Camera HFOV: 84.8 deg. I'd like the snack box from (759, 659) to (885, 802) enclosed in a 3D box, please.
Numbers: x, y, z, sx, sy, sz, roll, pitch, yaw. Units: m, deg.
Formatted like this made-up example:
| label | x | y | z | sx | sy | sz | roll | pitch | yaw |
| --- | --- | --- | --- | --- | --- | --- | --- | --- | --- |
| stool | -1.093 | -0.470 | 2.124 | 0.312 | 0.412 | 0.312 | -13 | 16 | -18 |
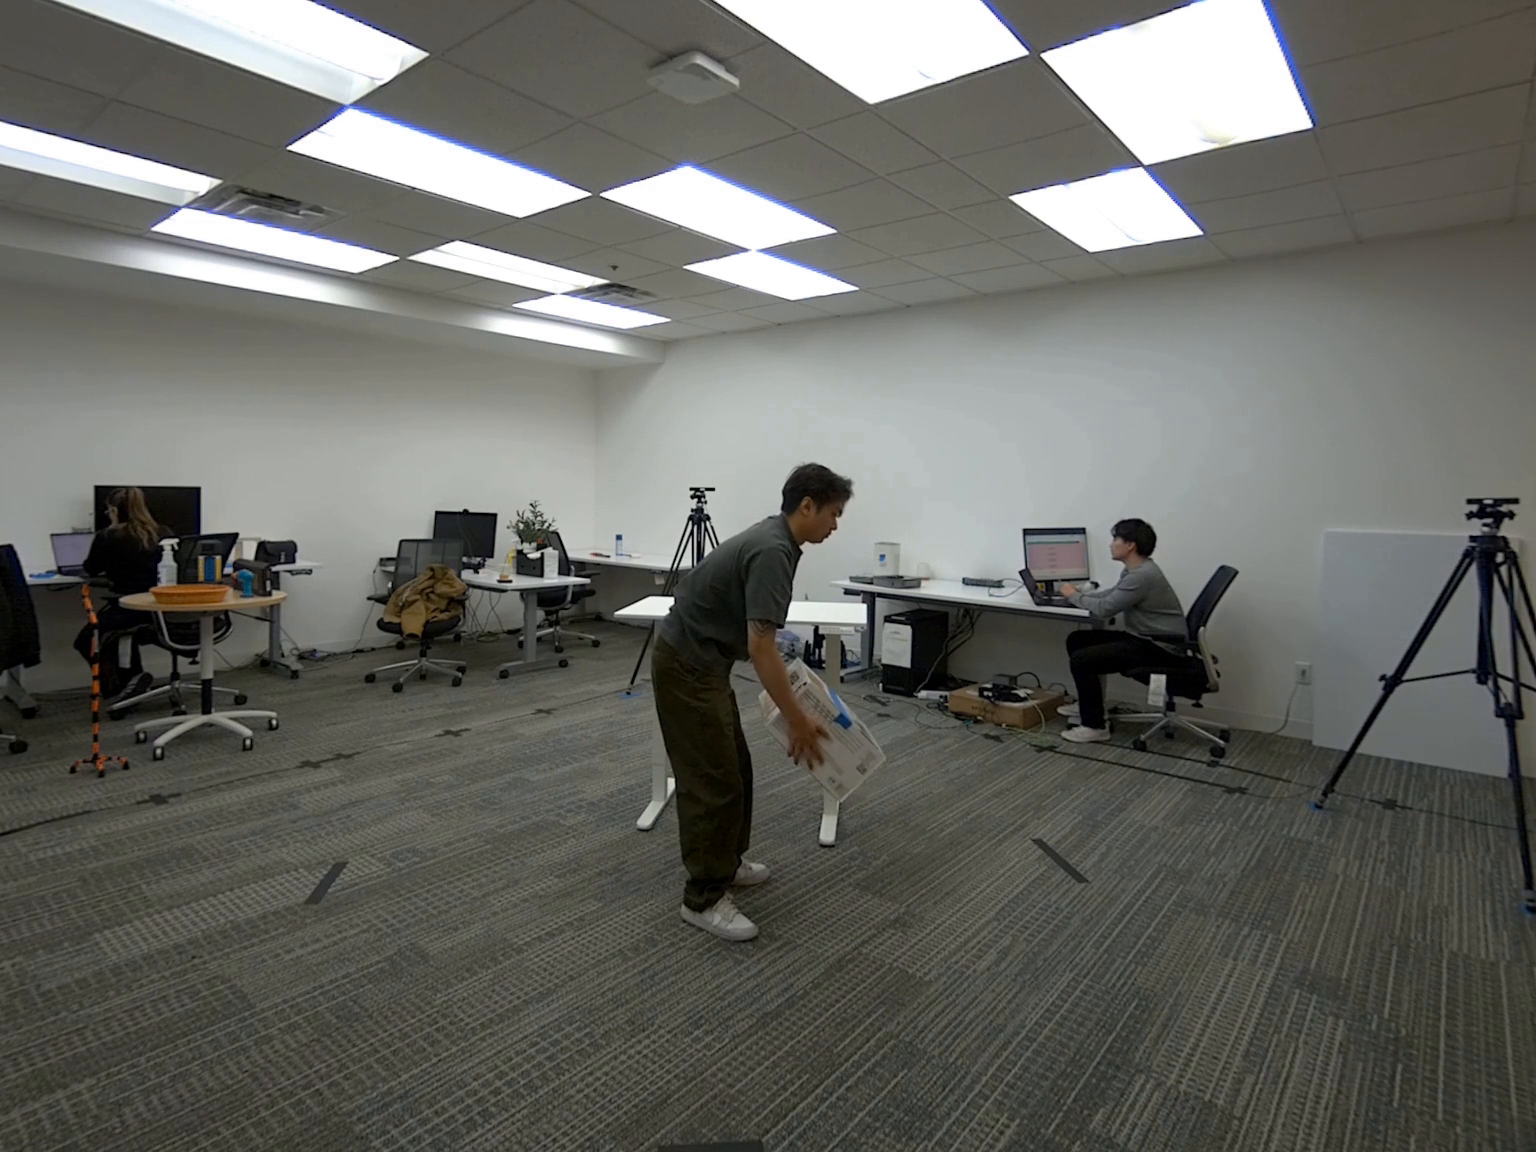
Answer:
| label | x | y | z | sx | sy | sz | roll | pitch | yaw |
| --- | --- | --- | --- | --- | --- | --- | --- | --- | --- |
| snack box | 0.157 | 0.496 | 2.818 | 0.339 | 0.206 | 0.407 | 45 | 1 | -4 |
